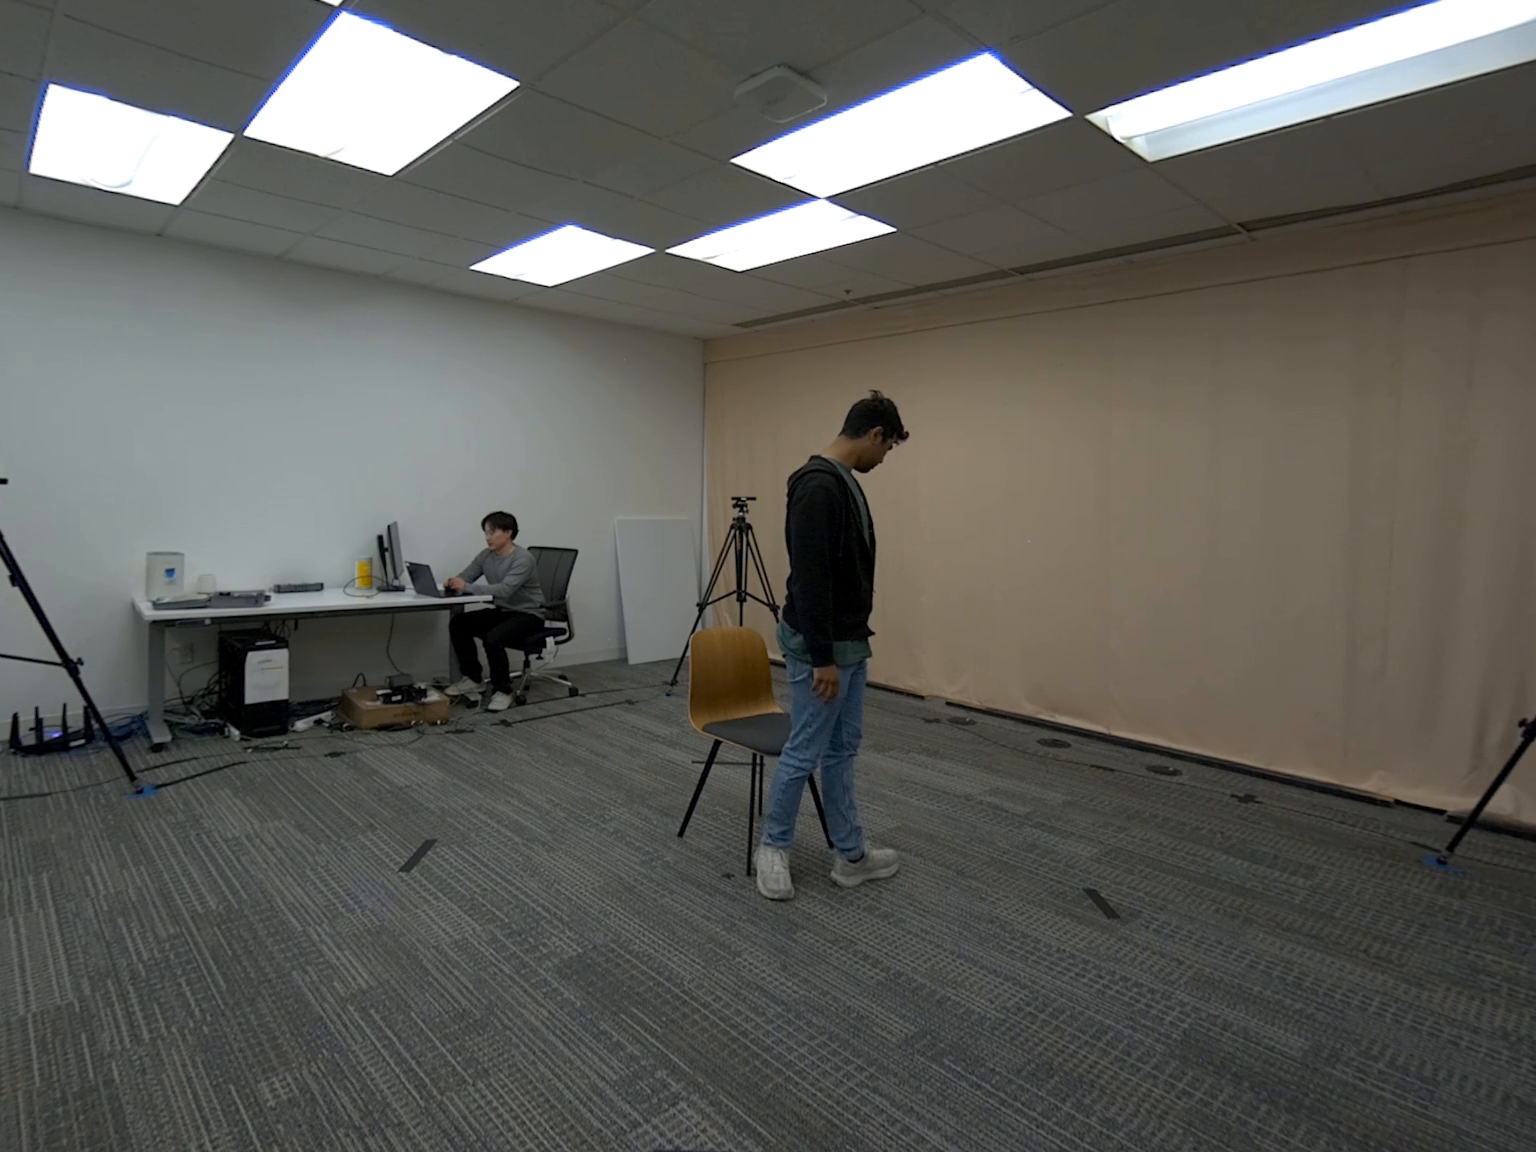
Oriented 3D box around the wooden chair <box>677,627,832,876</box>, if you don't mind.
[{"bbox_3d":[-0.046,0.660,3.385,0.467,0.878,0.535,-1,0,-39],"label":"wooden chair"}]
